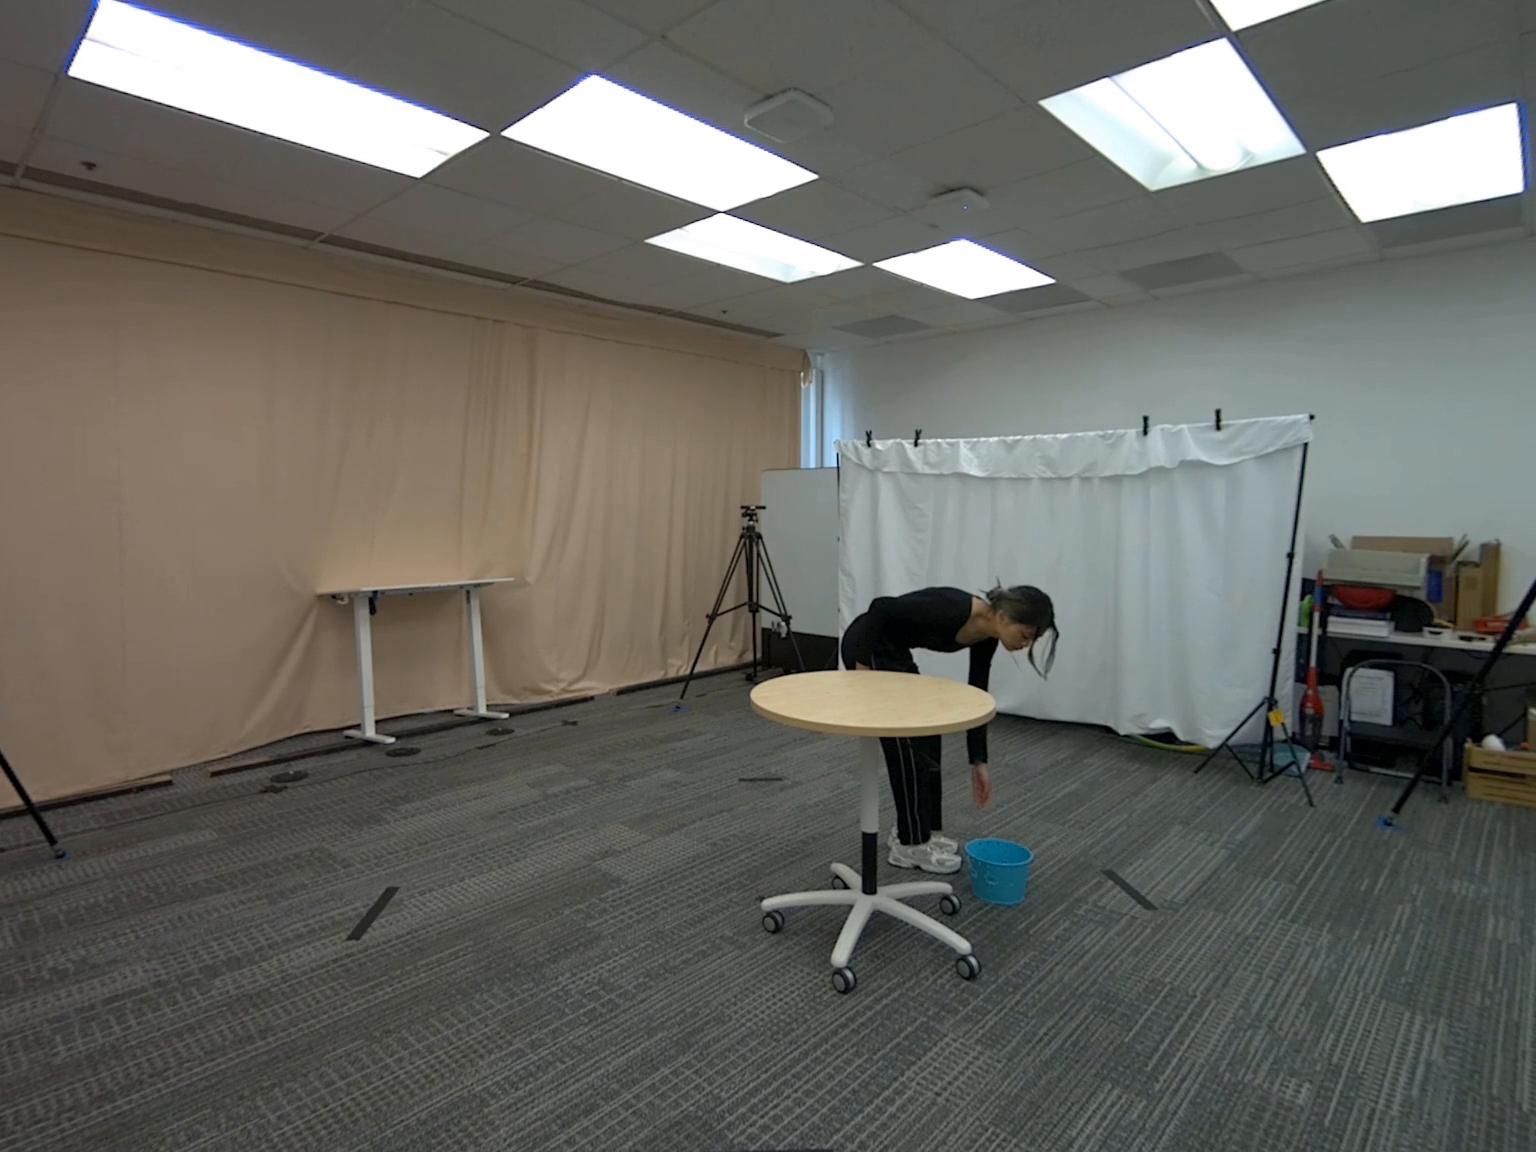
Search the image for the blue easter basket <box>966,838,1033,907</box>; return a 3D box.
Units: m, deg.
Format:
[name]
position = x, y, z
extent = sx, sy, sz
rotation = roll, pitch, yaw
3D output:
[blue easter basket]
position = 0.836, 1.061, 3.021
extent = 0.243, 0.155, 0.244
rotation = 0, 5, -2
